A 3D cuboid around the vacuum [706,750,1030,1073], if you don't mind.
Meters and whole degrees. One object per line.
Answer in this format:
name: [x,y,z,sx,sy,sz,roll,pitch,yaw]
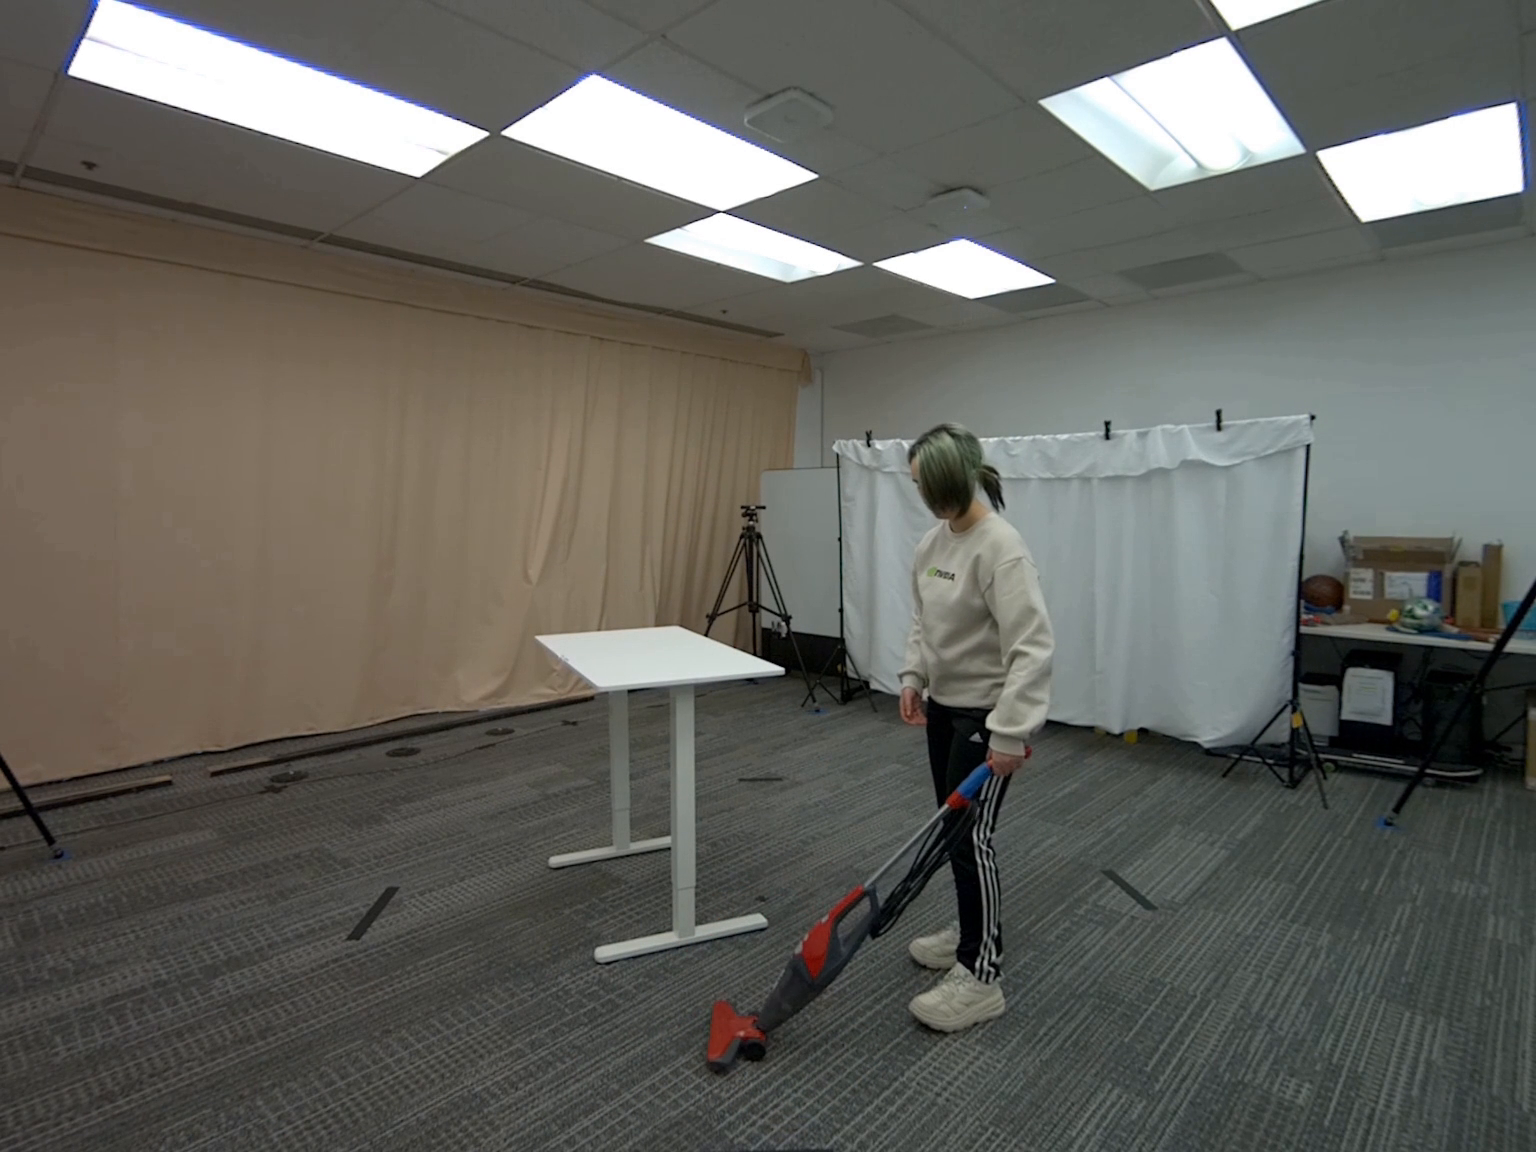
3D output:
vacuum: [0.283,0.823,2.128,0.144,1.050,0.252,44,4,0]
